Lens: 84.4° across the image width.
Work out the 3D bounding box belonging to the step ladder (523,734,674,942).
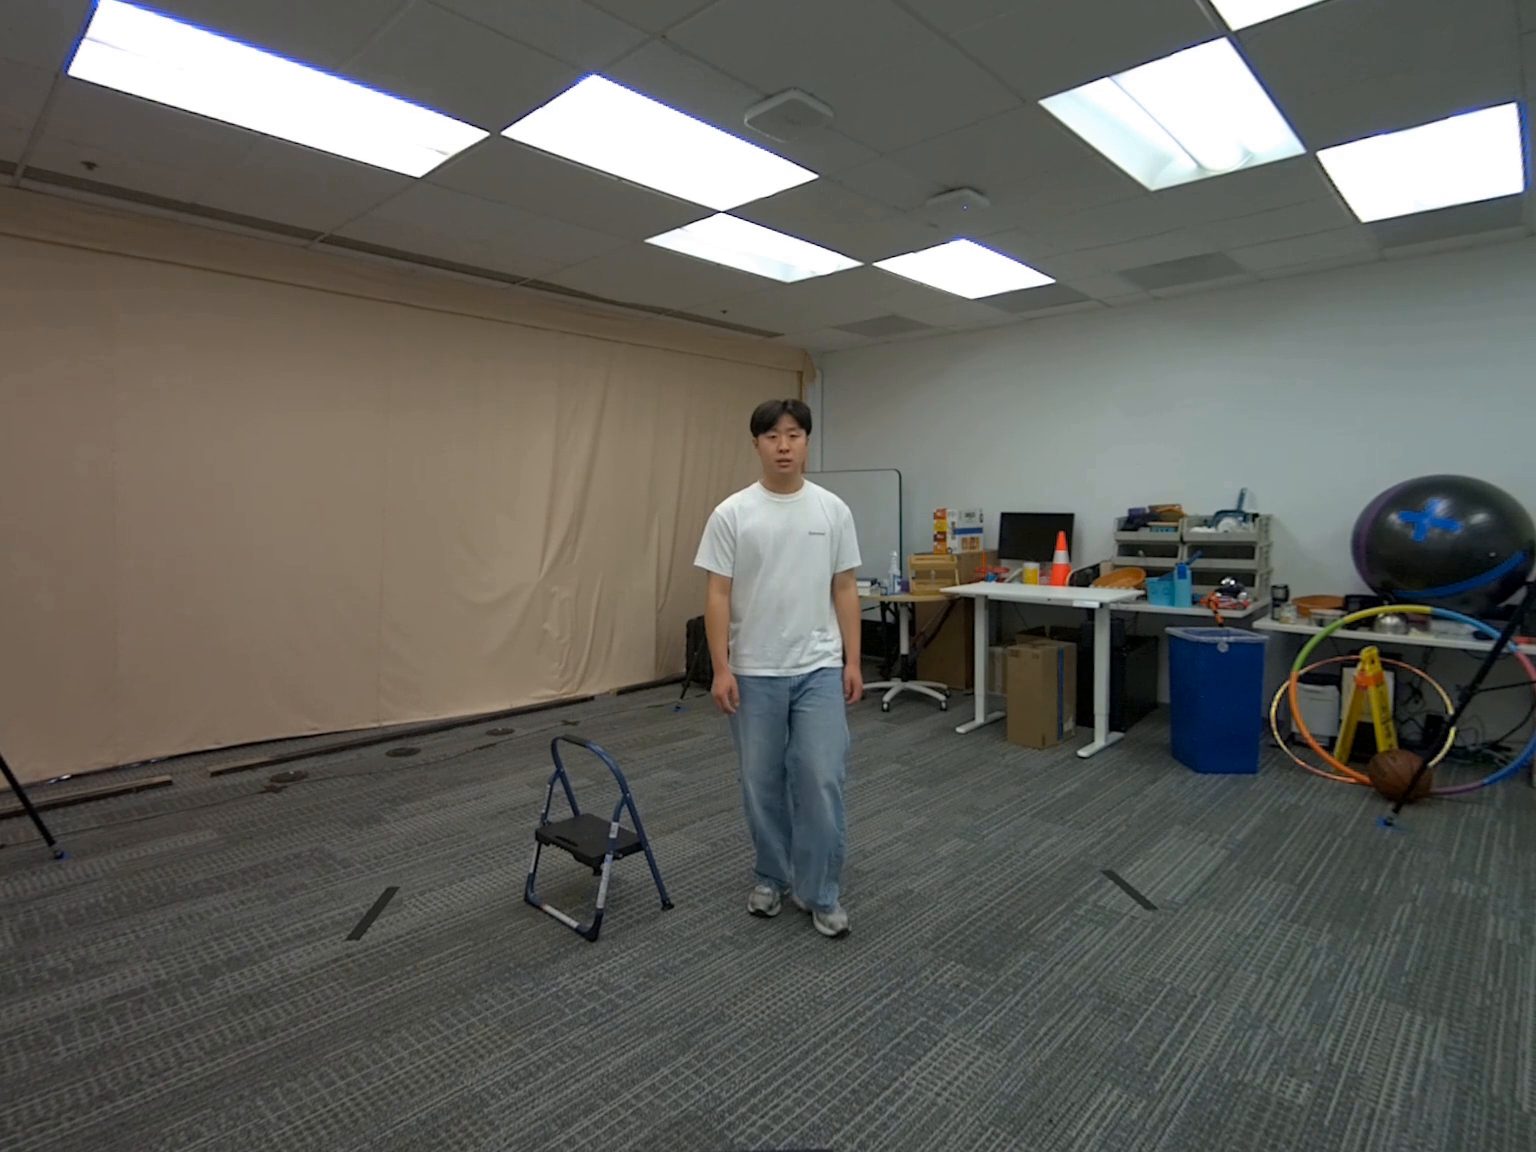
[{"bbox_3d":[-0.602,0.852,2.941,0.445,0.605,0.338,2,3,43],"label":"step ladder"}]
